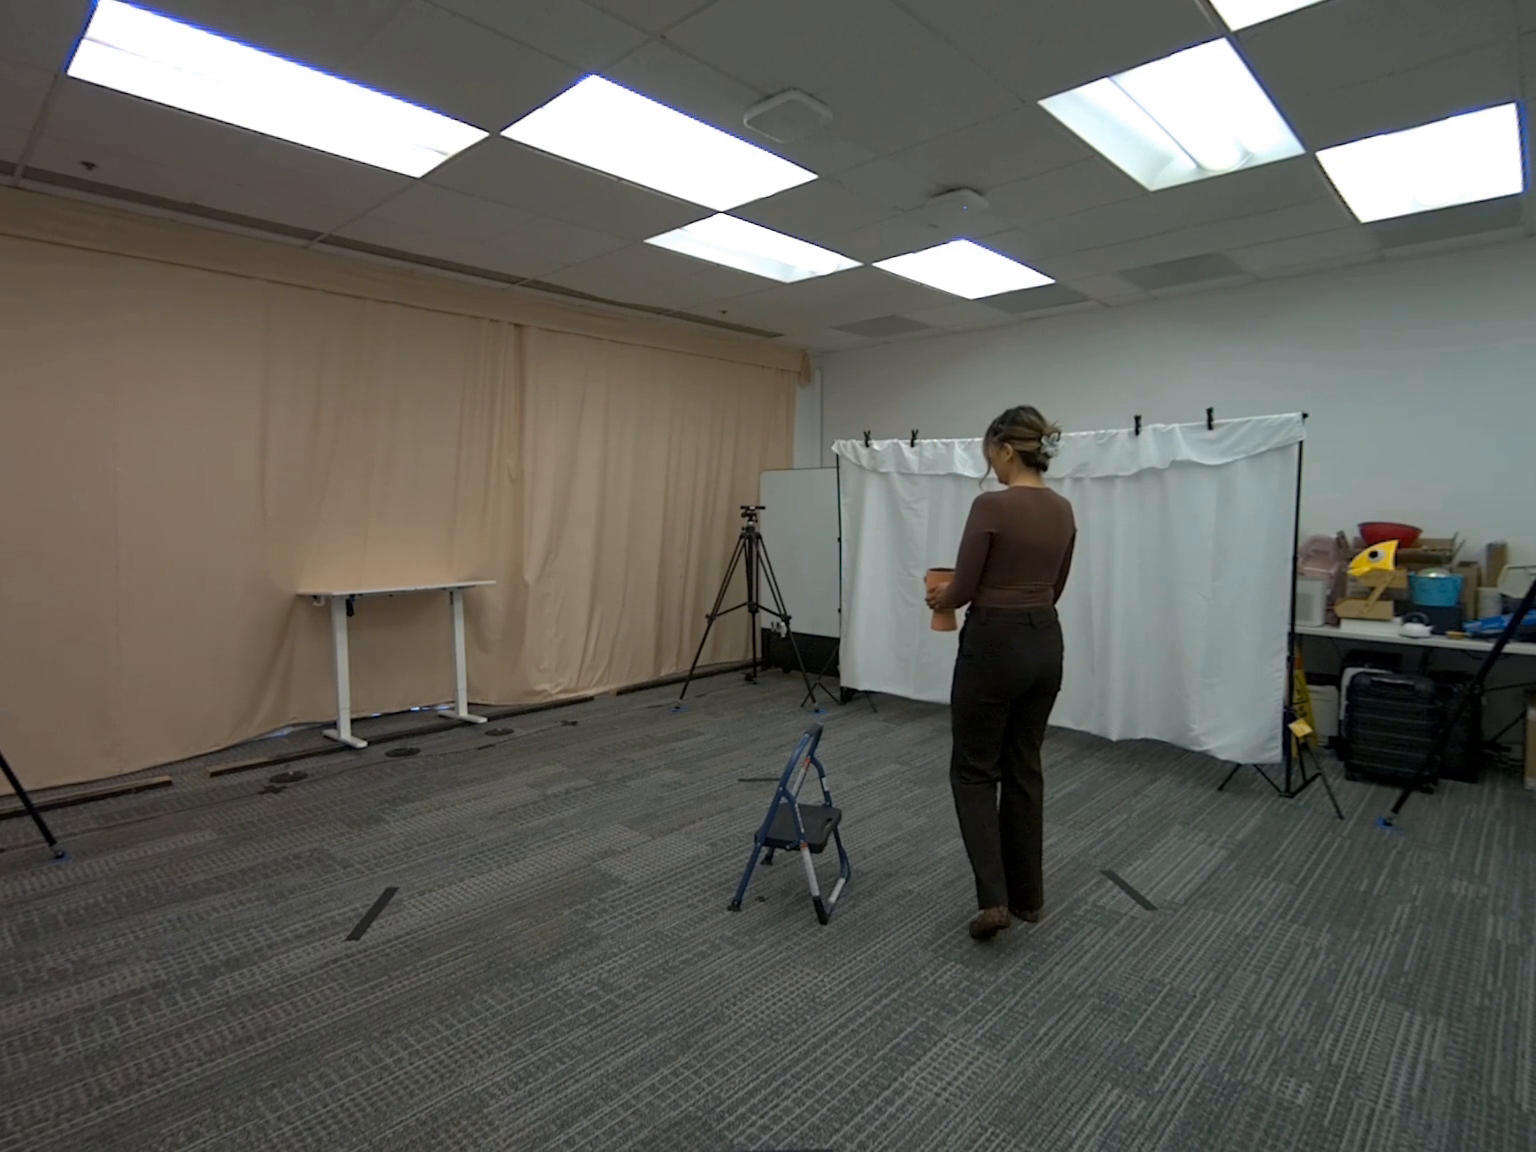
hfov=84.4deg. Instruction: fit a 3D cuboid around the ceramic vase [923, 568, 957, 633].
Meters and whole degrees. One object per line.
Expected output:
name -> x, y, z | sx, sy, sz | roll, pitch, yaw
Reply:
ceramic vase -> 0.663, 0.088, 3.119 | 0.135, 0.219, 0.159 | 1, 7, 1
